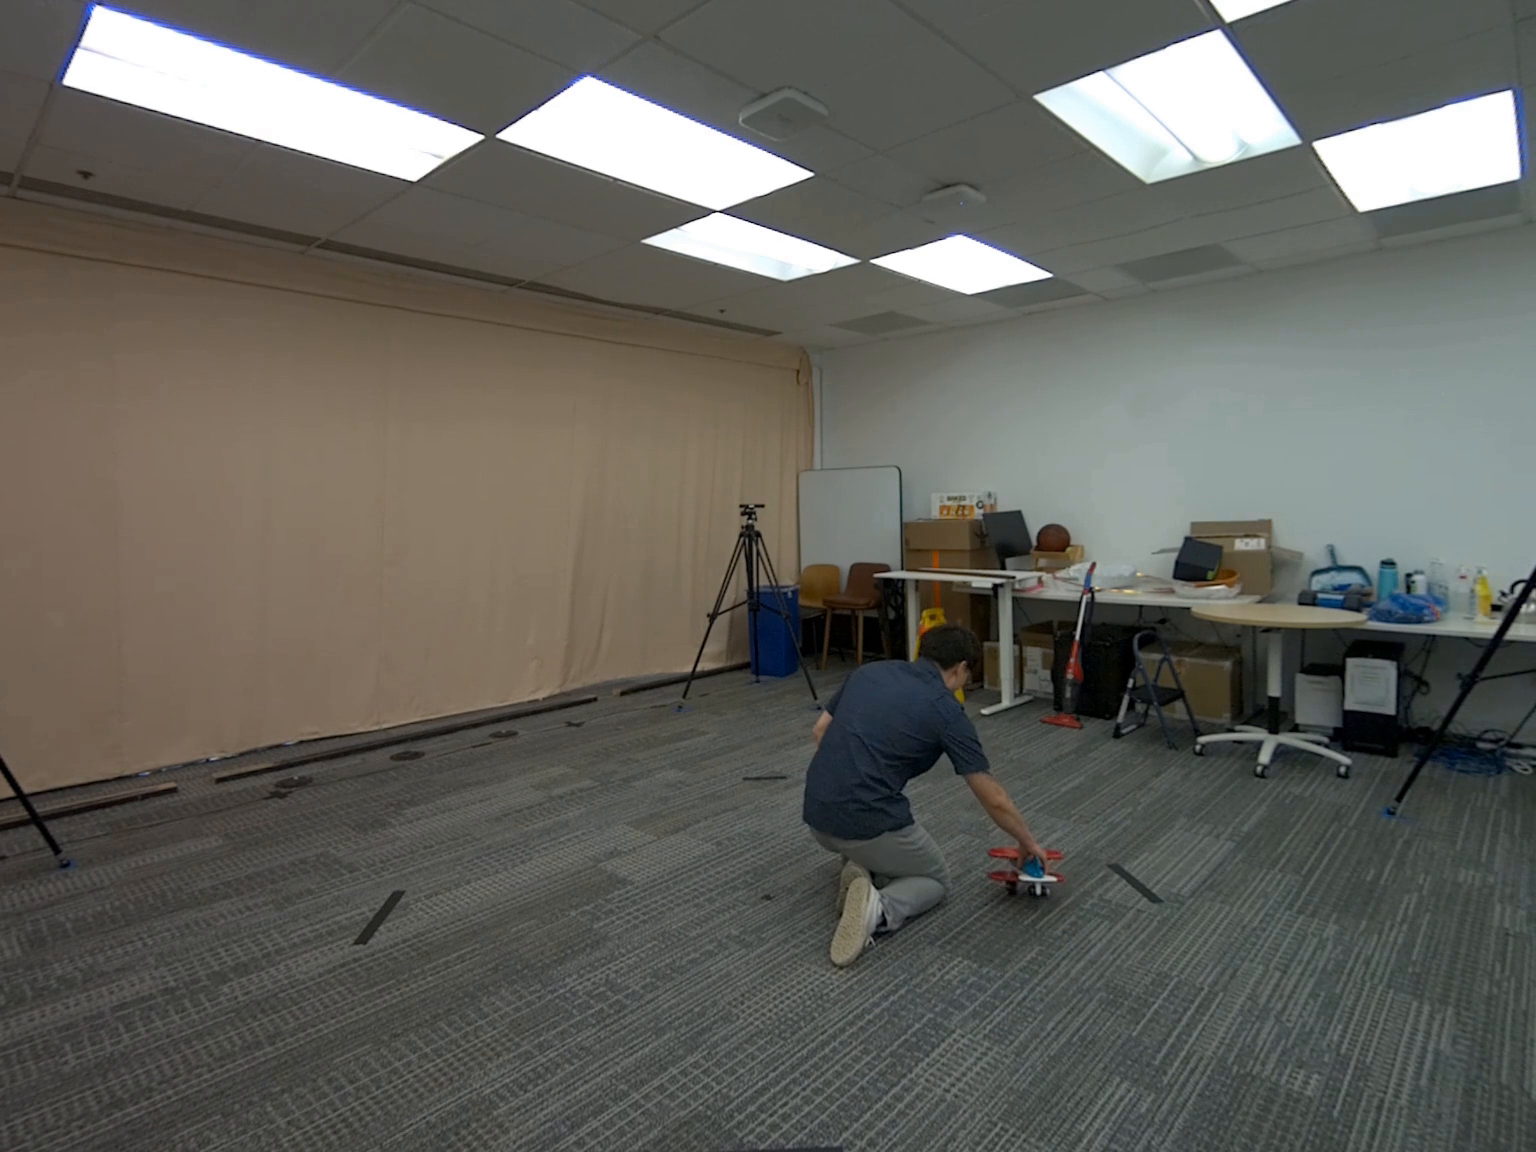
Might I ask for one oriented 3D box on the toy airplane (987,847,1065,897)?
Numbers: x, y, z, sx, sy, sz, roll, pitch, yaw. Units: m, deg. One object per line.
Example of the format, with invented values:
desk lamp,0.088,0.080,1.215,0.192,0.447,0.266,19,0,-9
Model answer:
toy airplane,0.931,1.035,2.908,0.245,0.158,0.262,10,-21,-23
